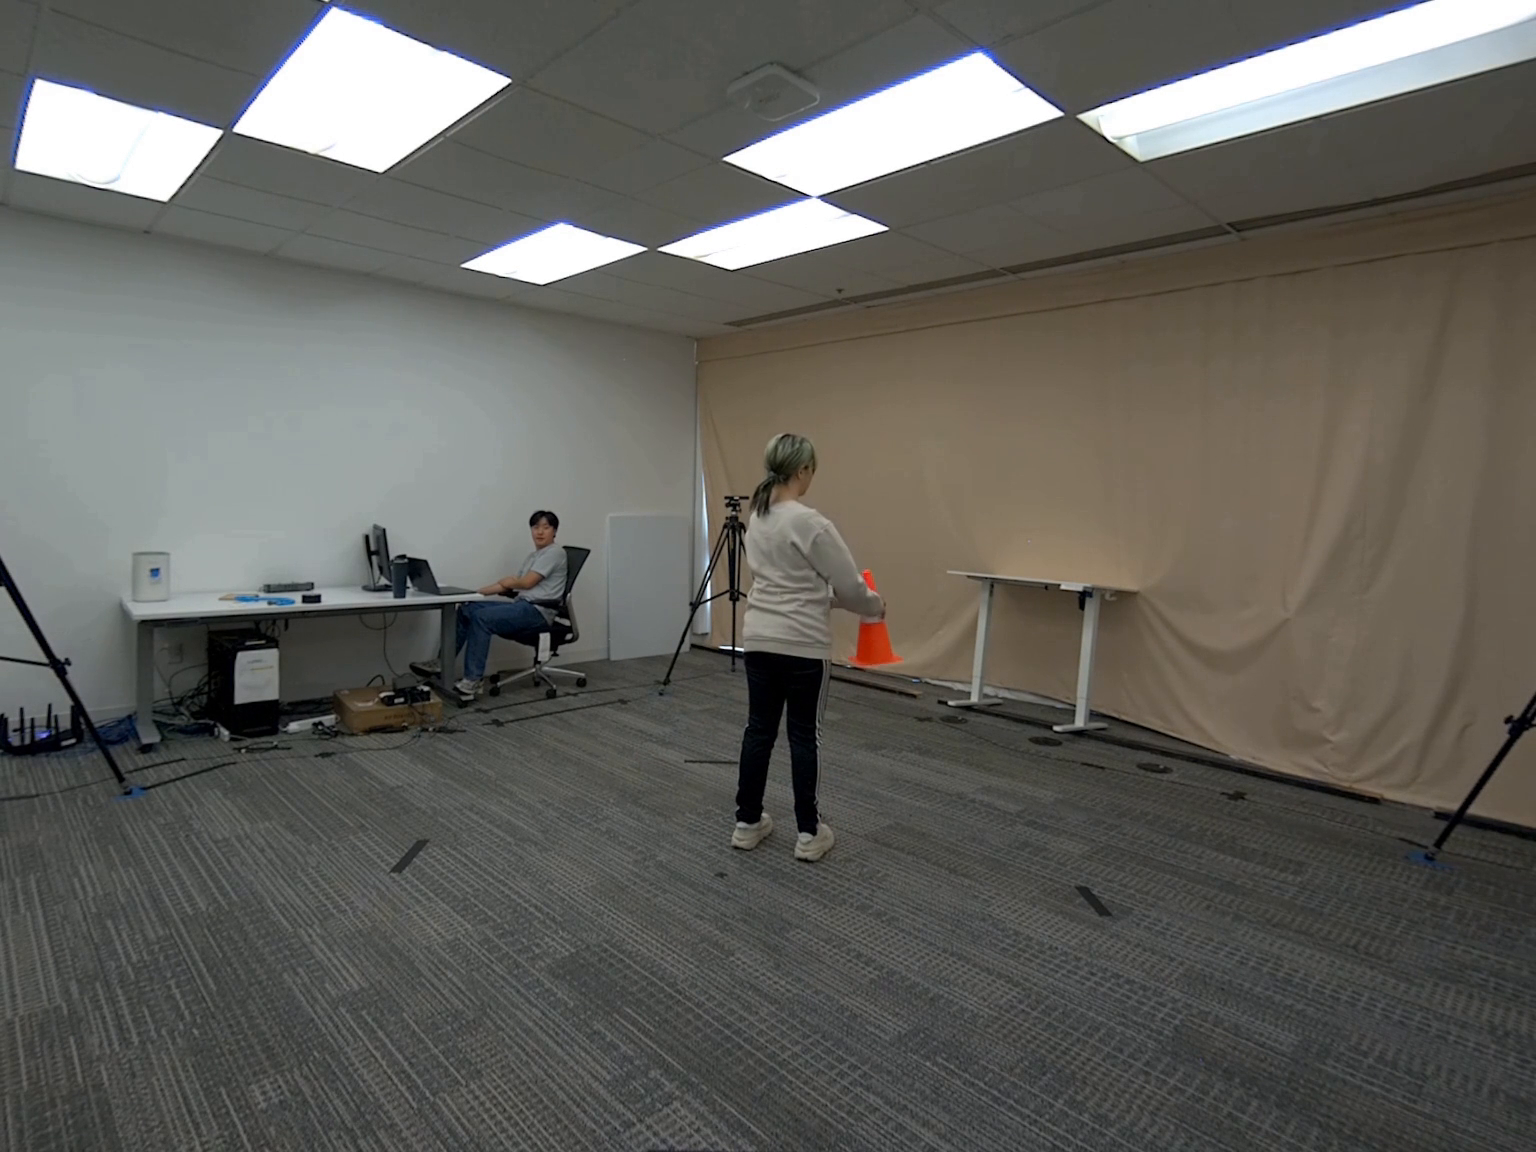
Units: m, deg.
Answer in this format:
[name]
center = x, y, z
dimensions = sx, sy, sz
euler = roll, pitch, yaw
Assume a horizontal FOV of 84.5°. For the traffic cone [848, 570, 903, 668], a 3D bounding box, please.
[traffic cone]
center = 0.423, 0.170, 3.554
dimensions = 0.204, 0.380, 0.206
euler = -6, 10, 2
